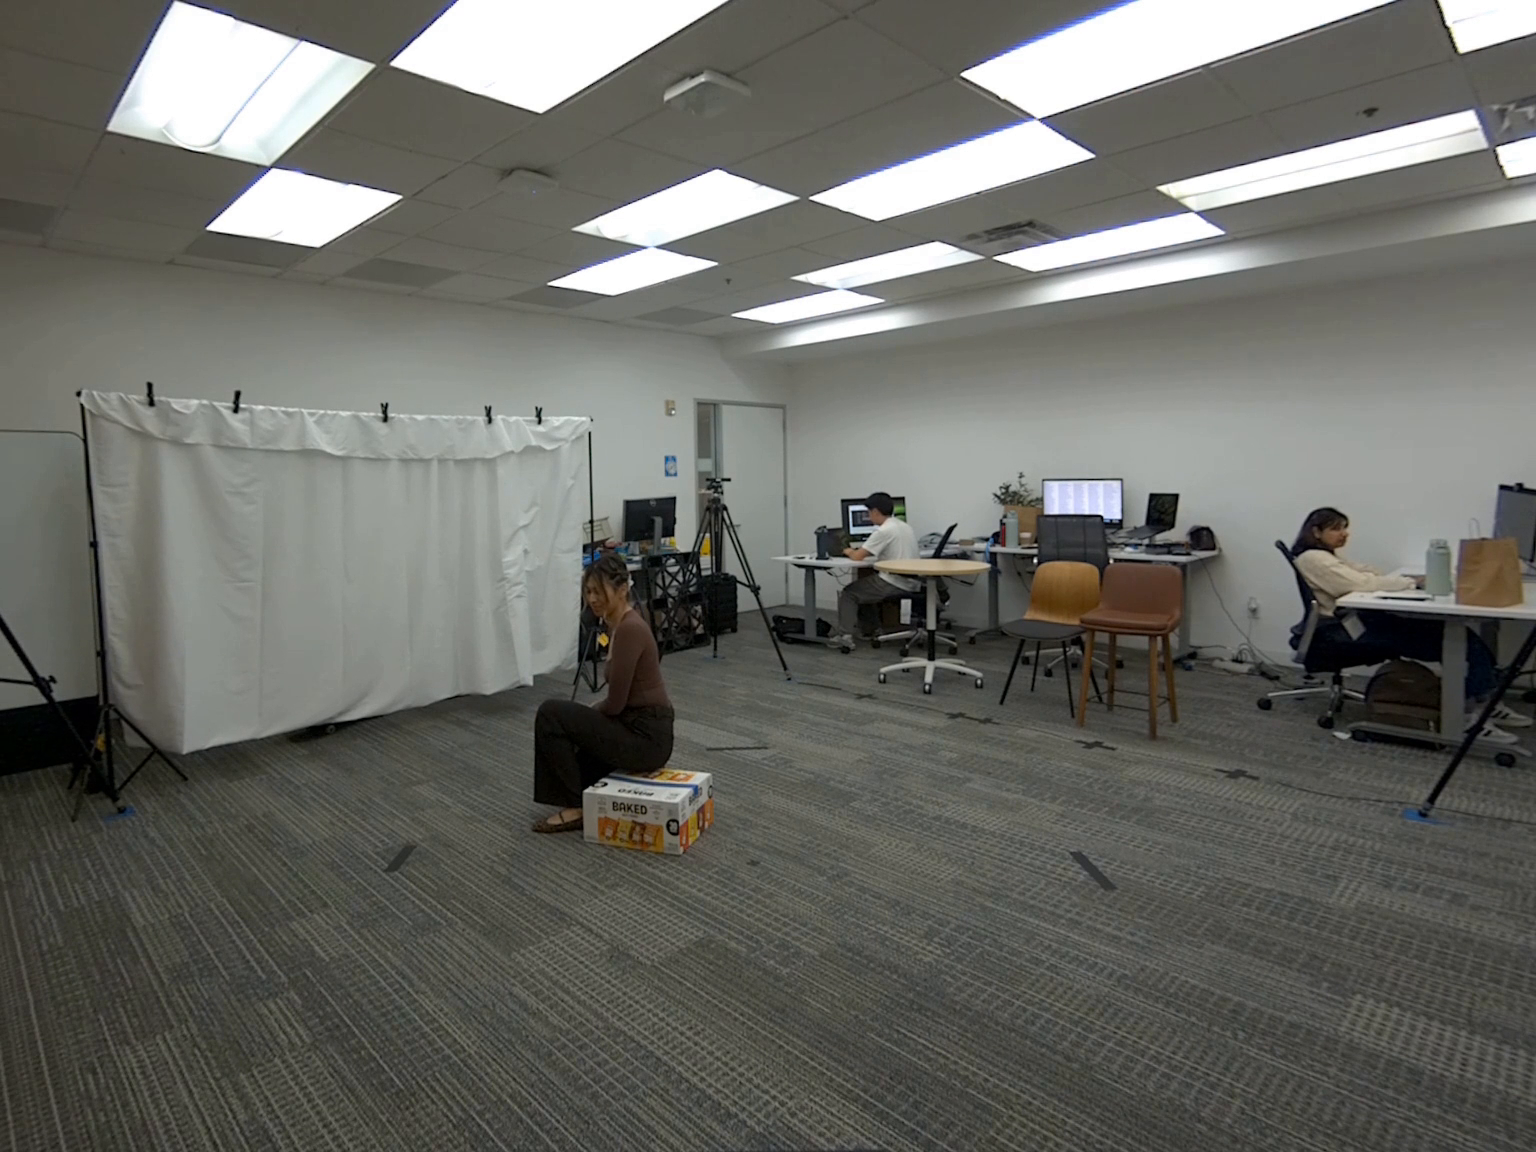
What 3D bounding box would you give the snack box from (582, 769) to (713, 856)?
[{"bbox_3d":[-0.470,0.918,3.387,0.413,0.205,0.335,1,5,20],"label":"snack box"}]
